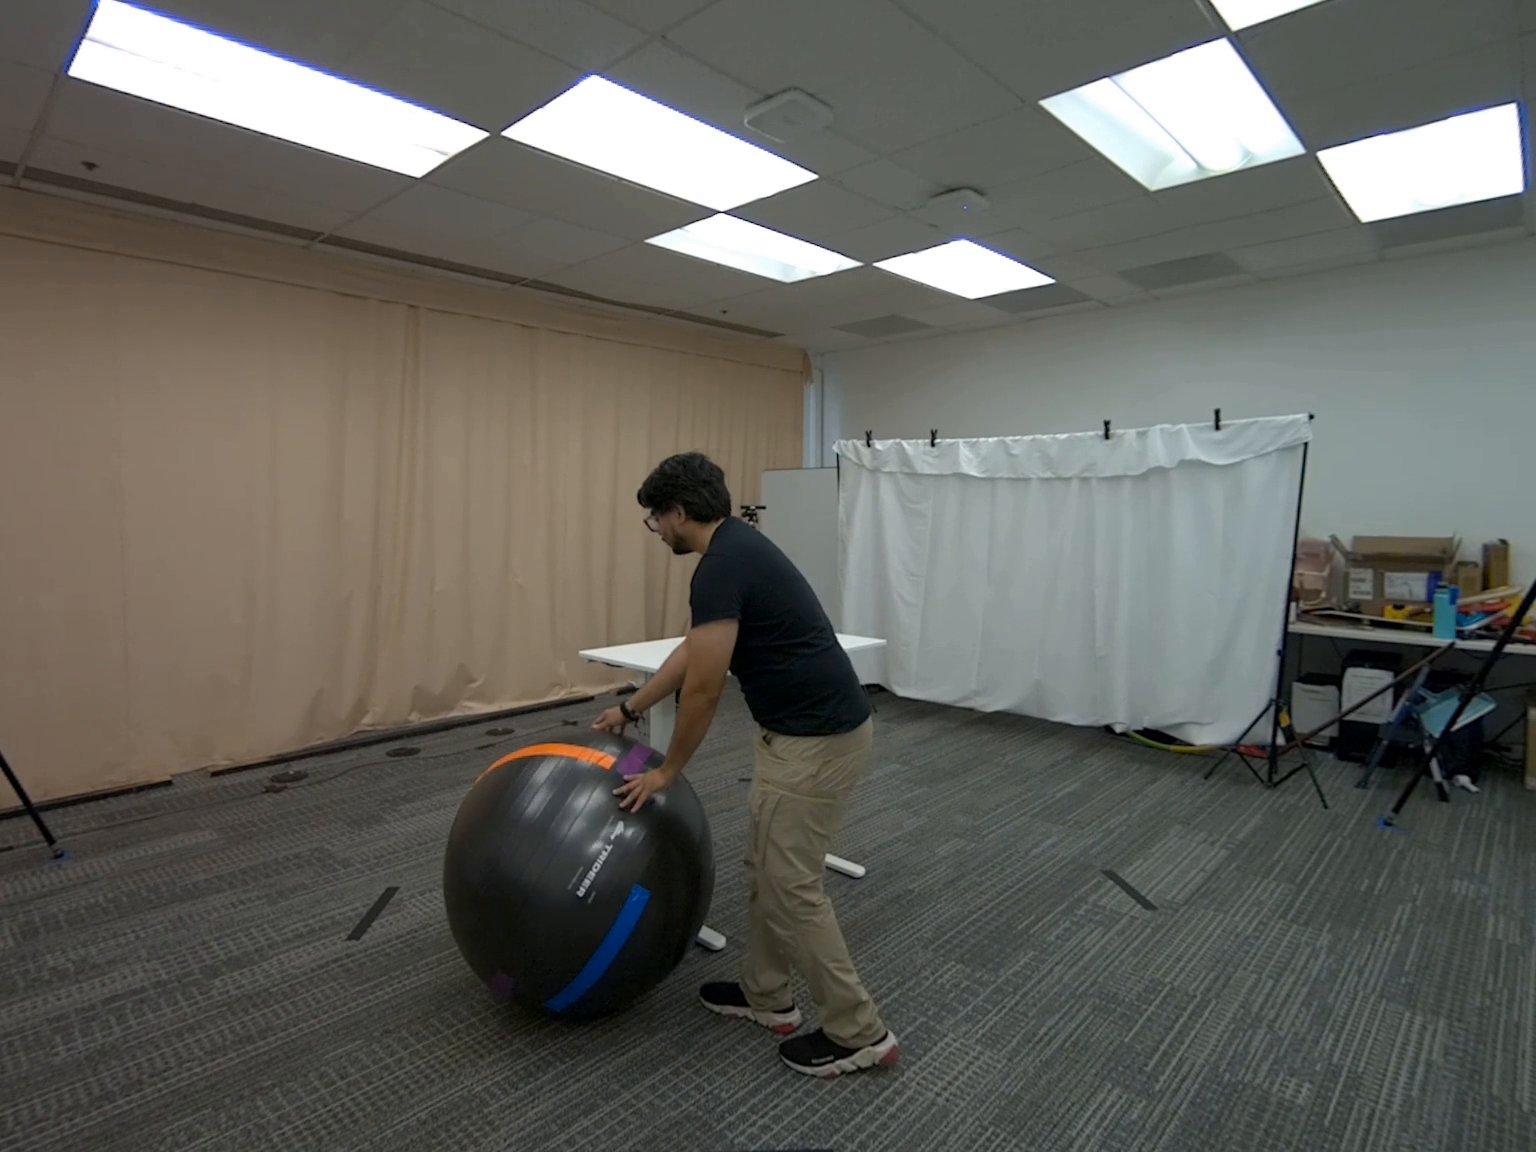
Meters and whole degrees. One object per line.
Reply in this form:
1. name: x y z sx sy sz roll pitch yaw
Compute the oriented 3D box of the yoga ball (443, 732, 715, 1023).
1. yoga ball: -0.528 0.829 2.388 0.757 0.756 0.760 0 4 -2
